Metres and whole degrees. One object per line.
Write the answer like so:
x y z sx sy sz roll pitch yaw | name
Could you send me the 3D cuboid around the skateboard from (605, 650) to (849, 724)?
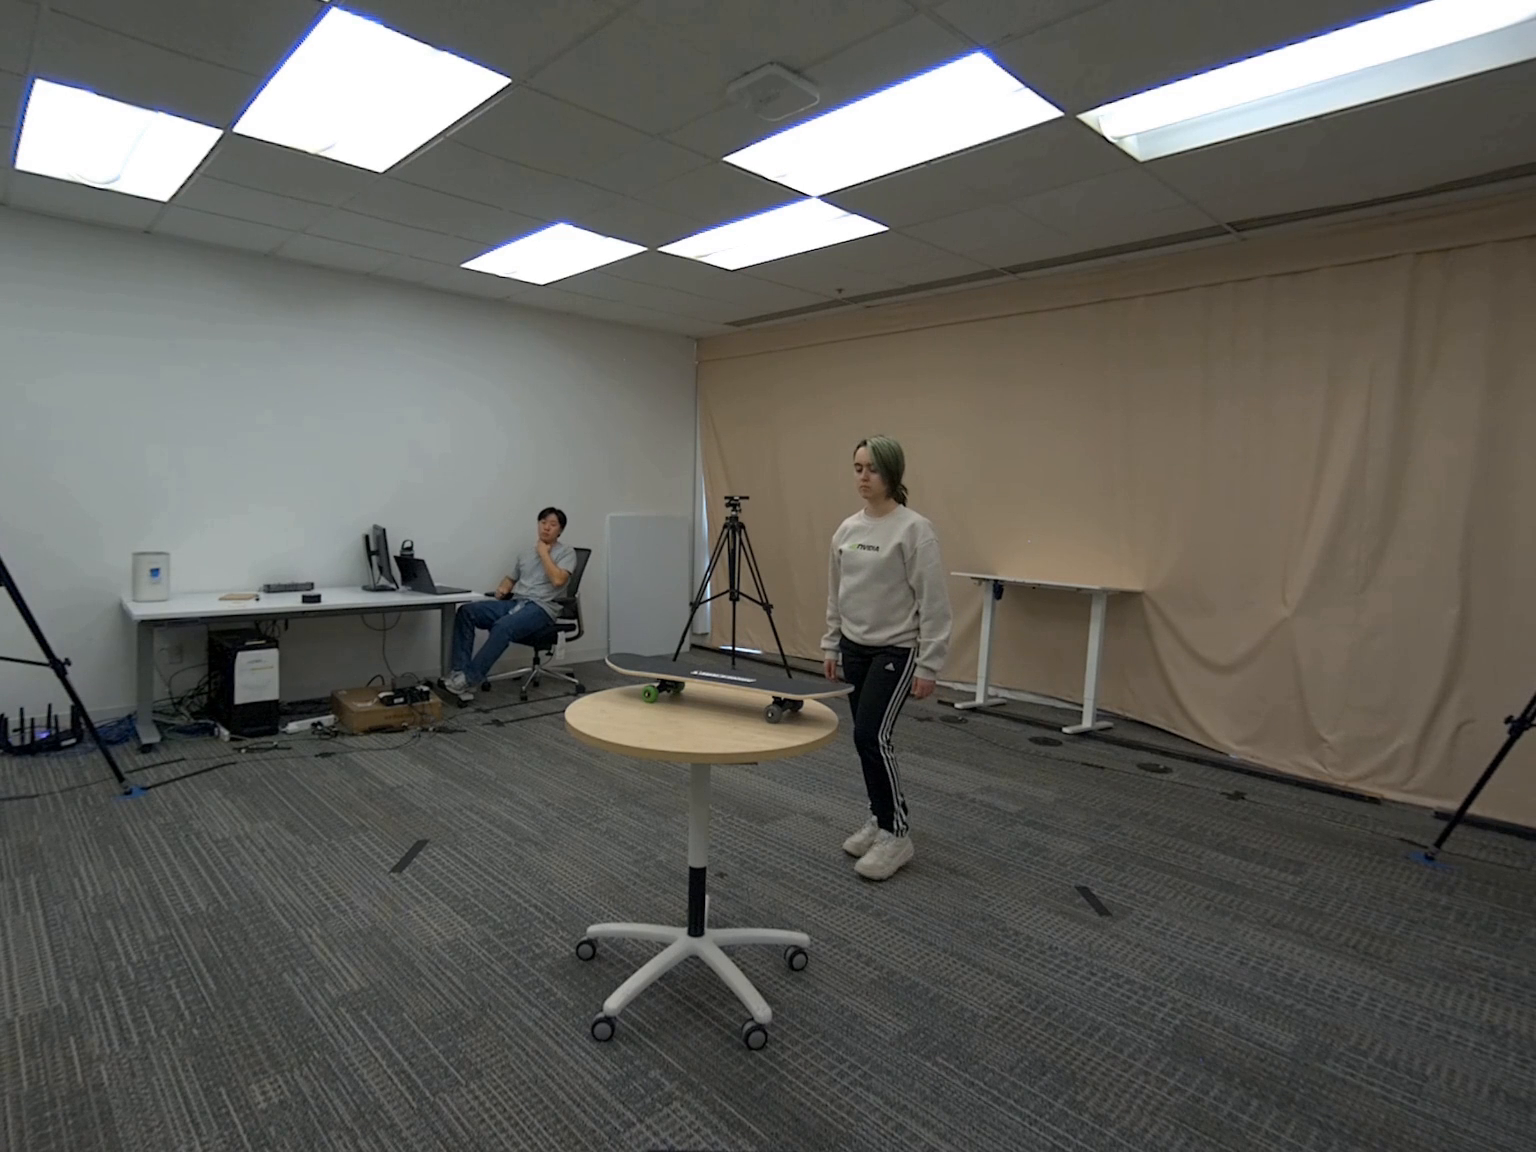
-0.143 0.336 2.435 0.802 0.110 0.190 5 6 28 | skateboard
